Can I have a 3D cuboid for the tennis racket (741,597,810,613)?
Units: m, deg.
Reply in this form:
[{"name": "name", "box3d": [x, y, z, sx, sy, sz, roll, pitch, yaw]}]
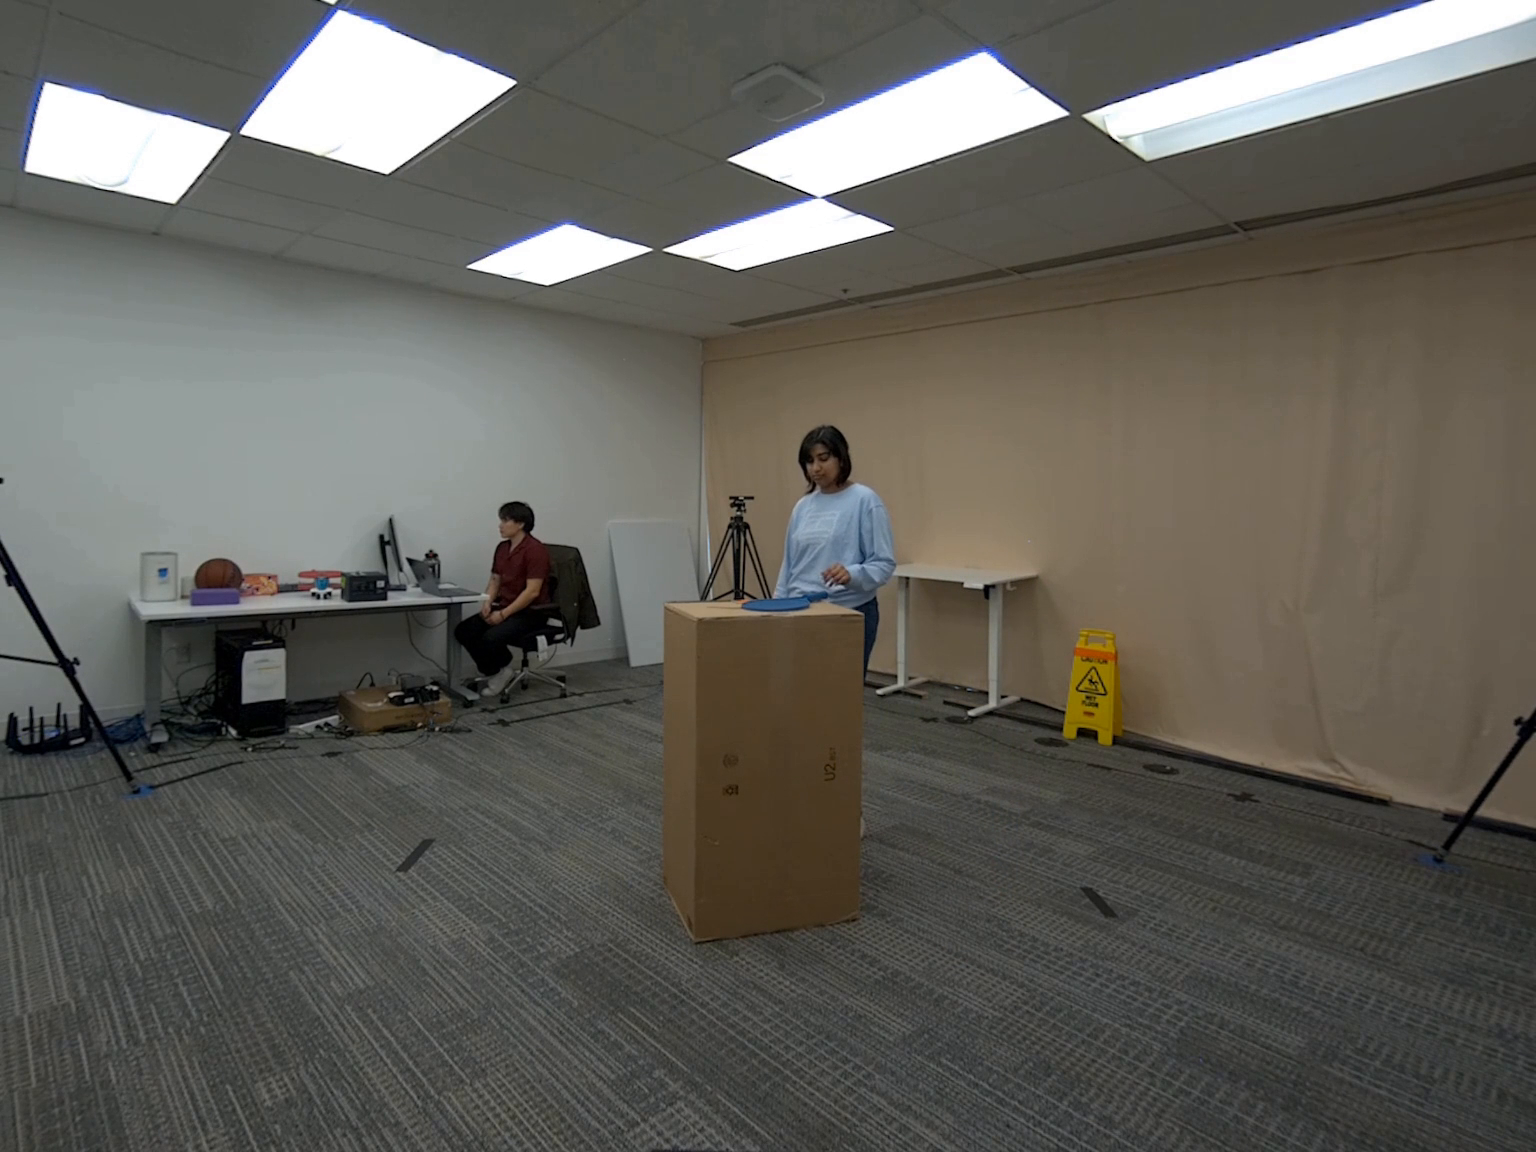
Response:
[{"name": "tennis racket", "box3d": [0.053, 0.092, 2.925, 0.219, 0.031, 0.424, 5, 8, 35]}]
